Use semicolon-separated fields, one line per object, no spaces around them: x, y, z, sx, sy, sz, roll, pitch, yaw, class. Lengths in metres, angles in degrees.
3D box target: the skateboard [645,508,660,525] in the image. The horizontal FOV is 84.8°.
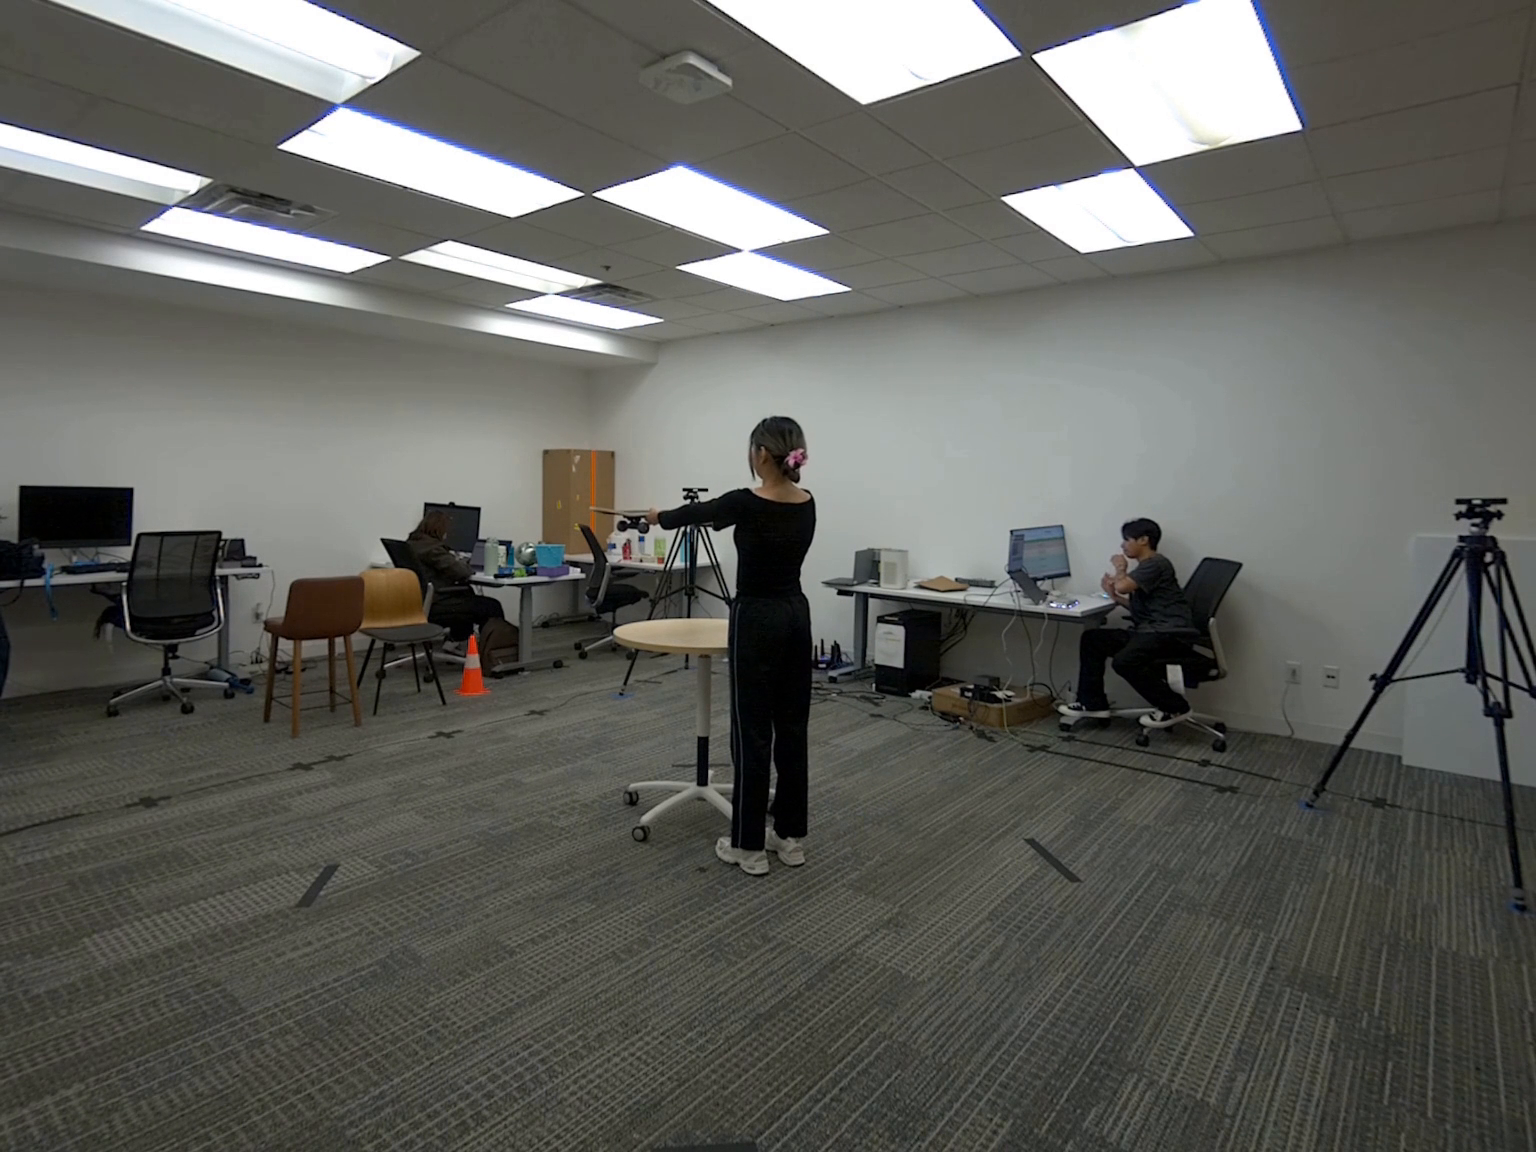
-0.418;-0.252;3.672;0.762;0.110;0.200;-4;8;-42;skateboard
